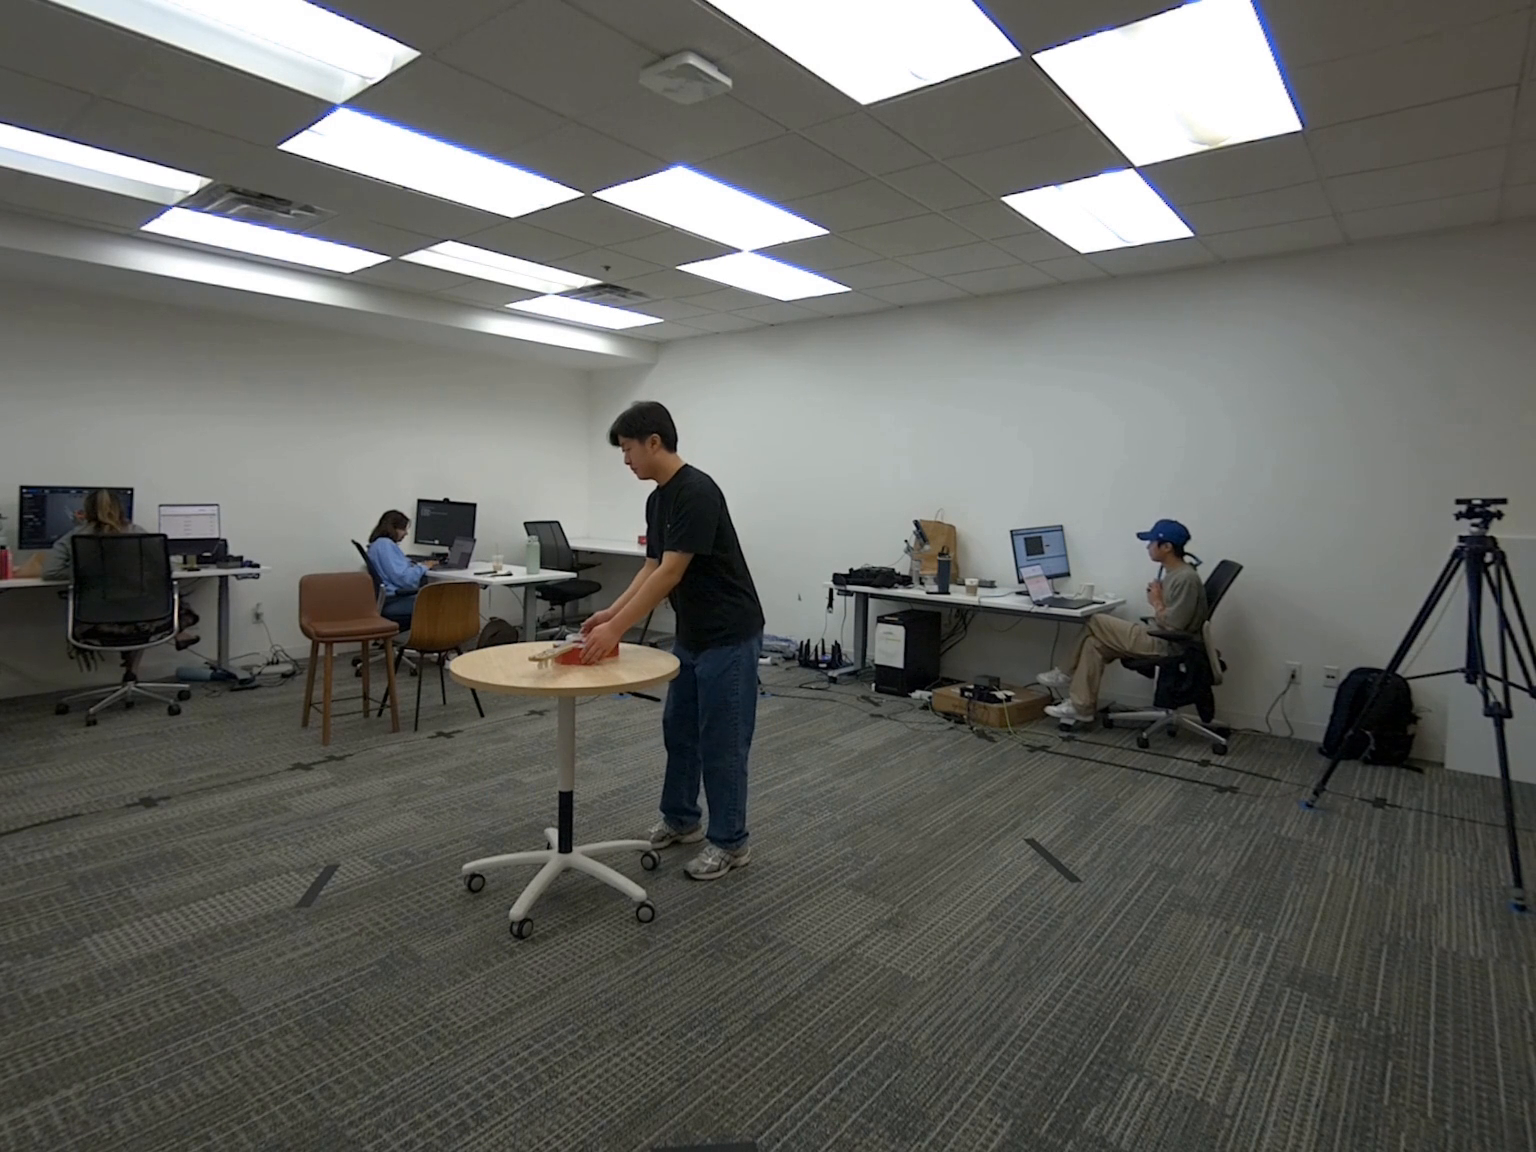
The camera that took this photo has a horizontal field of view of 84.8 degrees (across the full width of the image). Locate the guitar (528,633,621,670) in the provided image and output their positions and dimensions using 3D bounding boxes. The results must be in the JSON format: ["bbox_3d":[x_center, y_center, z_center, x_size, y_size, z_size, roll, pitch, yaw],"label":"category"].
[{"bbox_3d":[-0.706,0.255,2.861,0.198,0.070,0.487,4,6,23],"label":"guitar"}]
